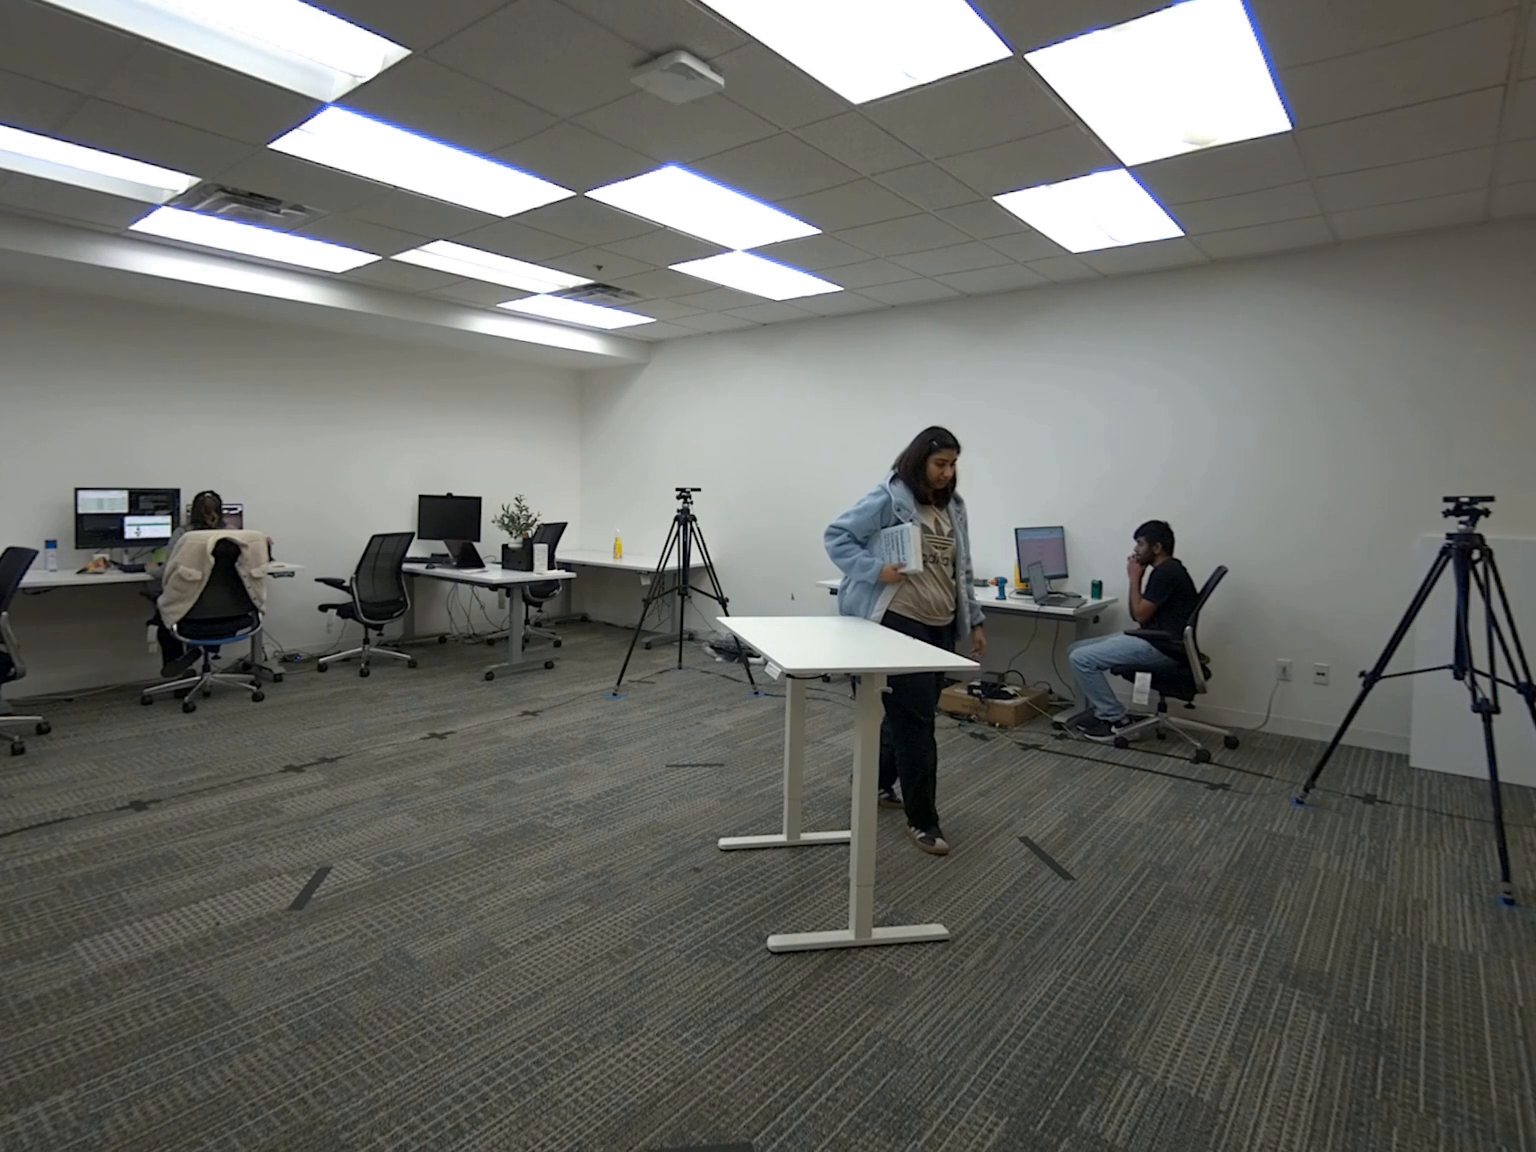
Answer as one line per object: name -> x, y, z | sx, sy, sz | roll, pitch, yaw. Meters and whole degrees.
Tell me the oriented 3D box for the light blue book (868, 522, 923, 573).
light blue book -> 0.475, -0.102, 3.402 | 0.267, 0.193, 0.057 | -12, -14, 42
